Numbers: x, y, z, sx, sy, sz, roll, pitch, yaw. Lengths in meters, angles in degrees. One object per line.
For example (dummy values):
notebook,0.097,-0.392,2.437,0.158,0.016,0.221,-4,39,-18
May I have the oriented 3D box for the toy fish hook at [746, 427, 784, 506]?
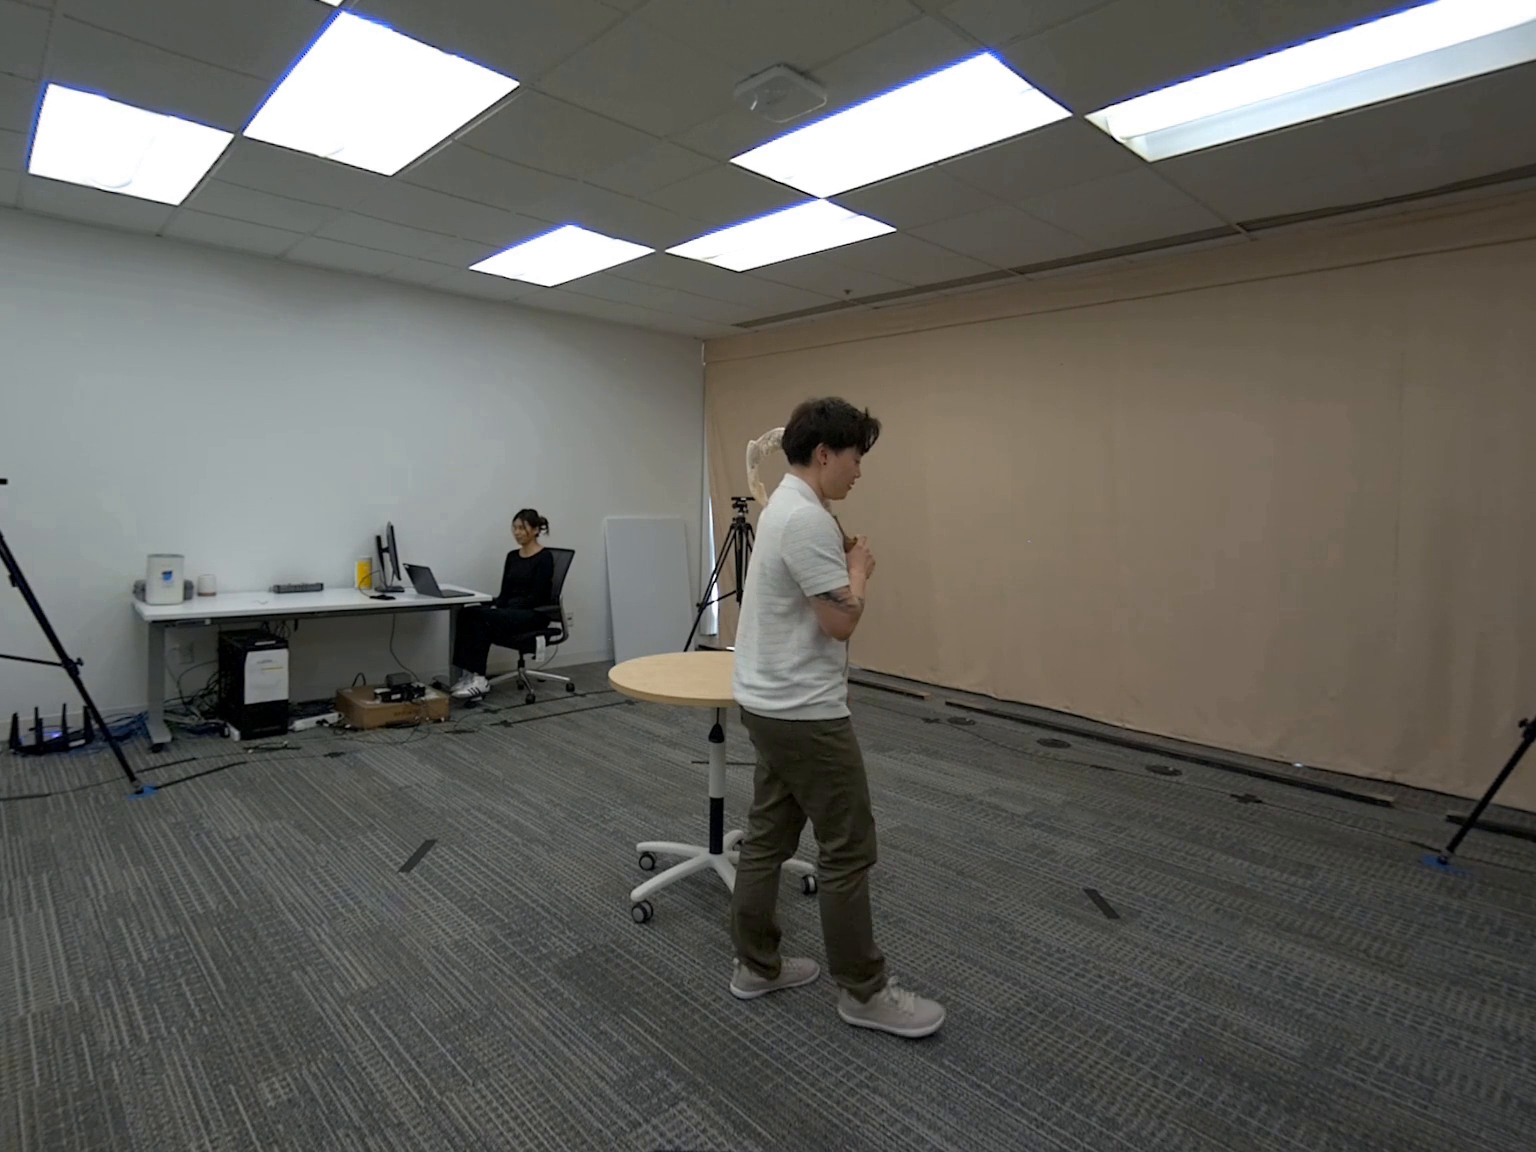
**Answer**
toy fish hook,0.105,-0.184,2.390,0.224,0.511,0.048,-29,-8,-9
